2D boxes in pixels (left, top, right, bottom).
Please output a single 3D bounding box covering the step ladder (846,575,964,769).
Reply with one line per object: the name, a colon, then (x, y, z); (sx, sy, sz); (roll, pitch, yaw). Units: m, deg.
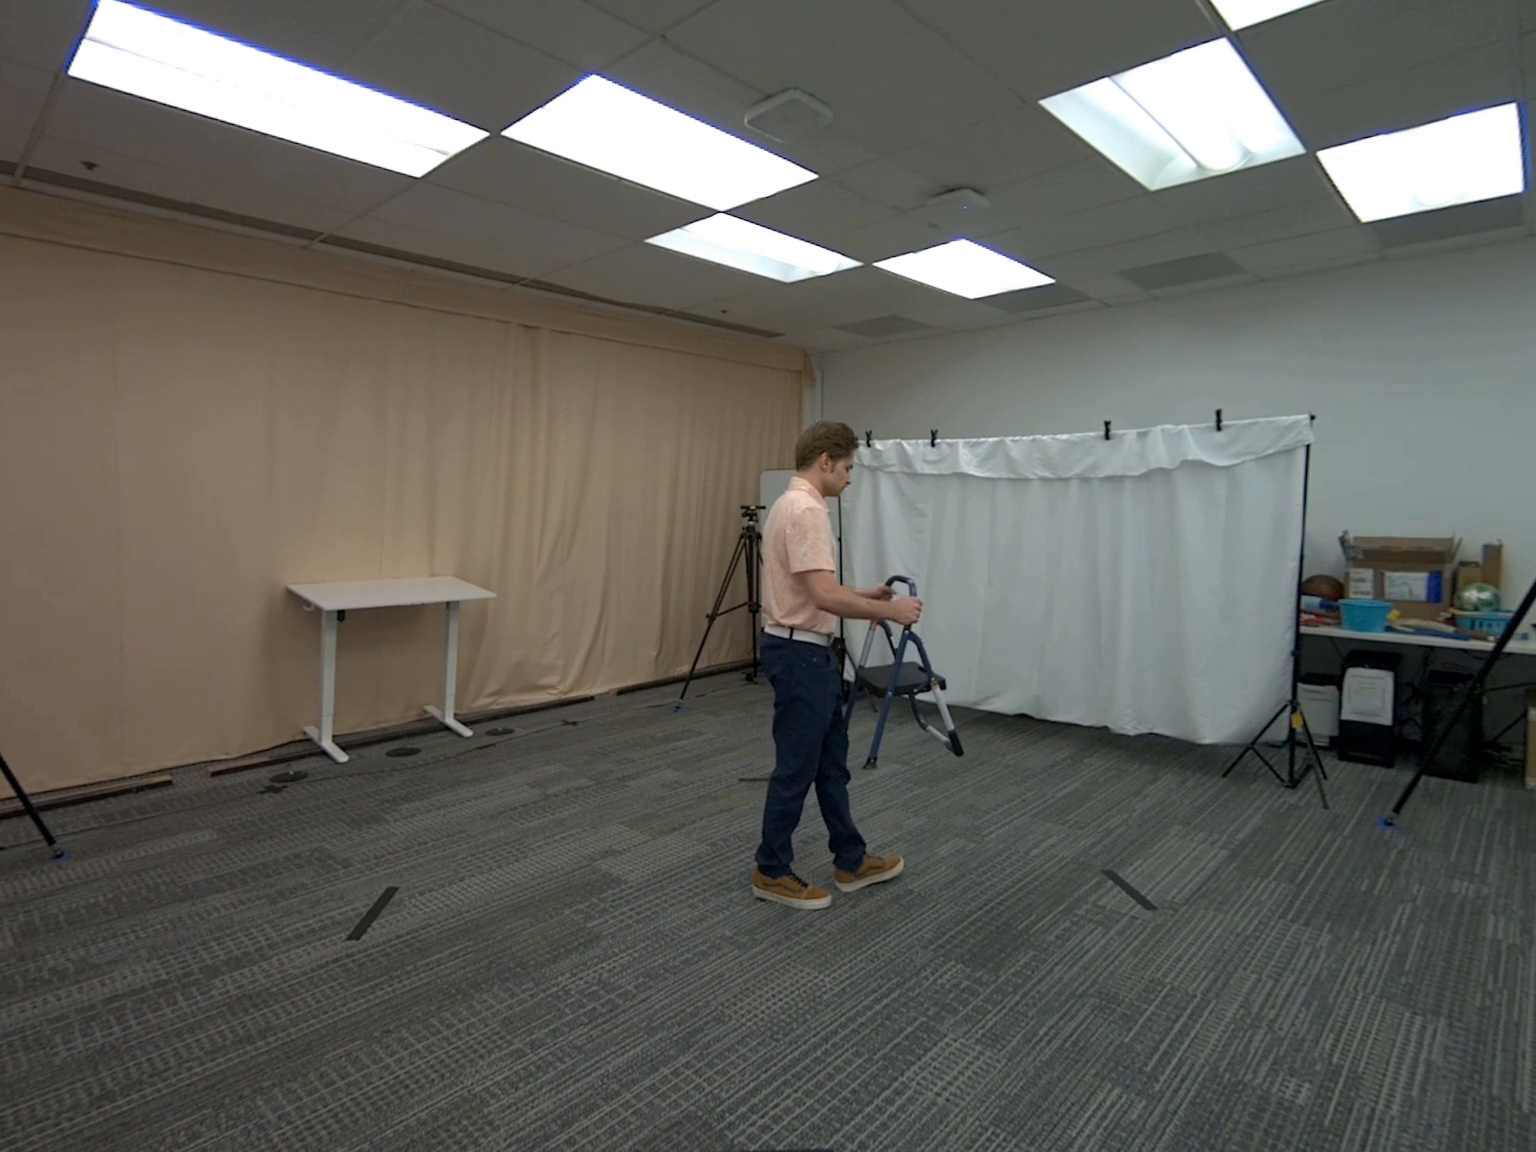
step ladder: (0.440, 0.321, 3.006); (0.347, 0.604, 0.435); (-6, 5, -7)
